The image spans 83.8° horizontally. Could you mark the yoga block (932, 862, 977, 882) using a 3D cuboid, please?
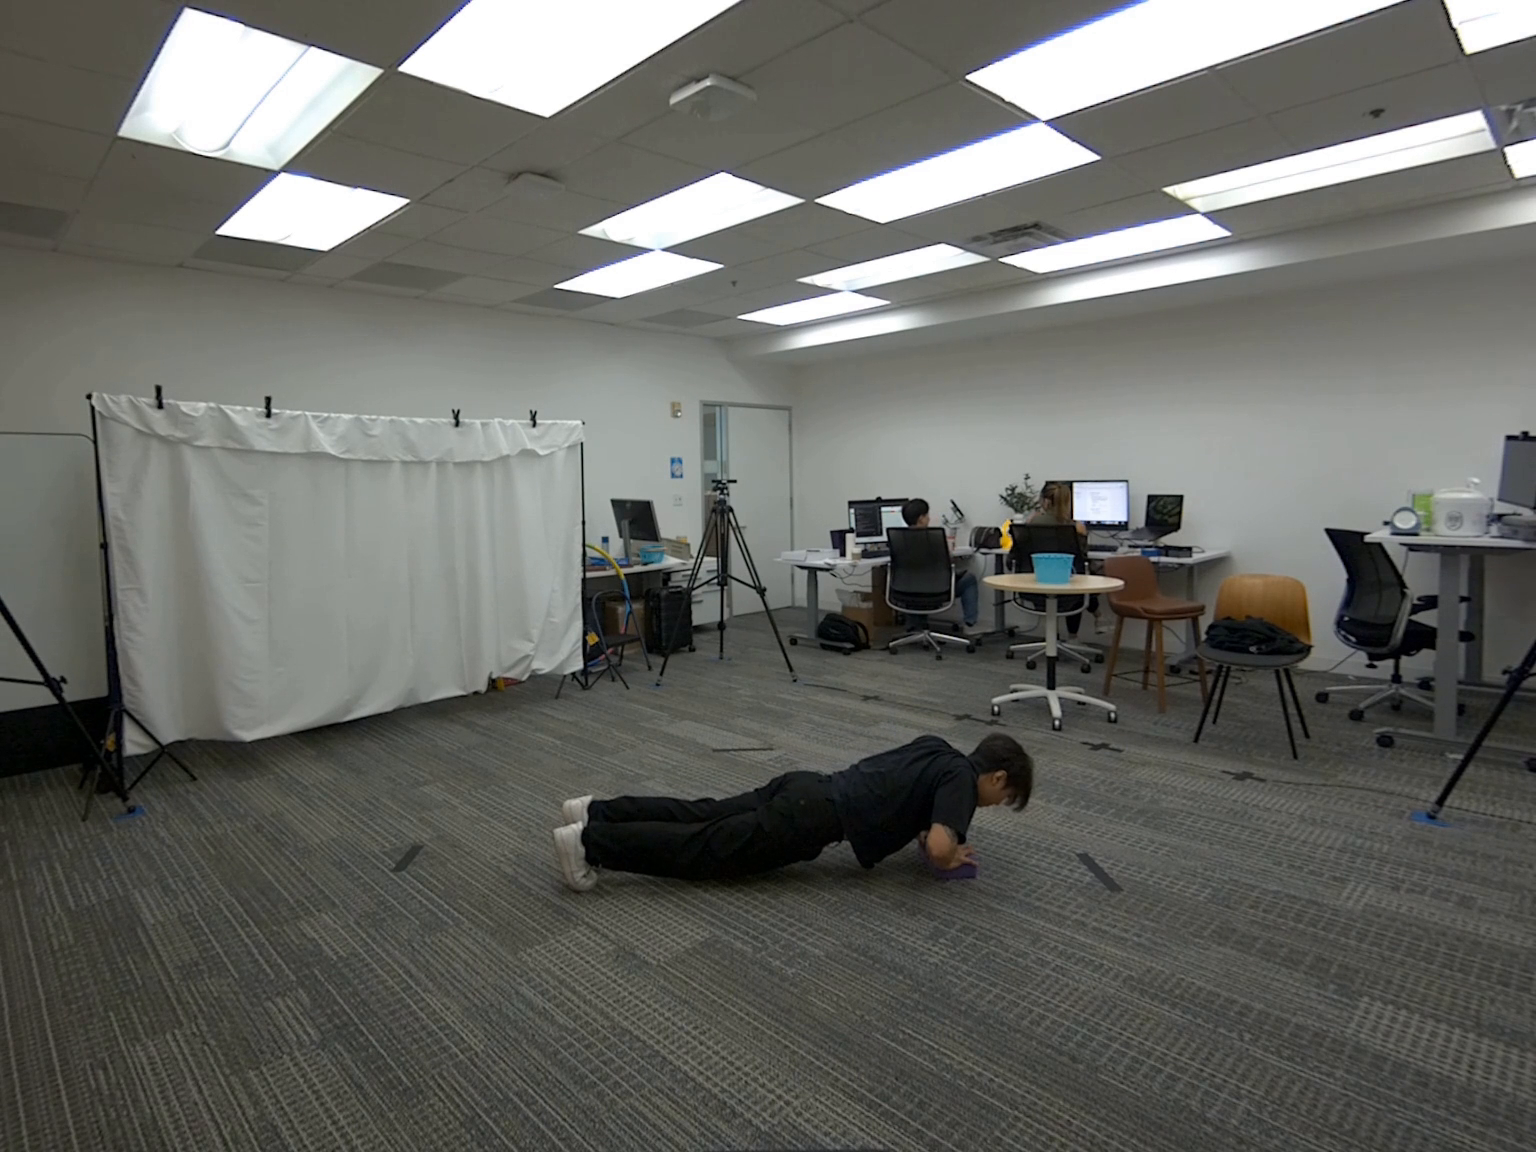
[{"bbox_3d":[0.636,0.994,3.068,0.148,0.076,0.231,3,5,-7],"label":"yoga block"}]
